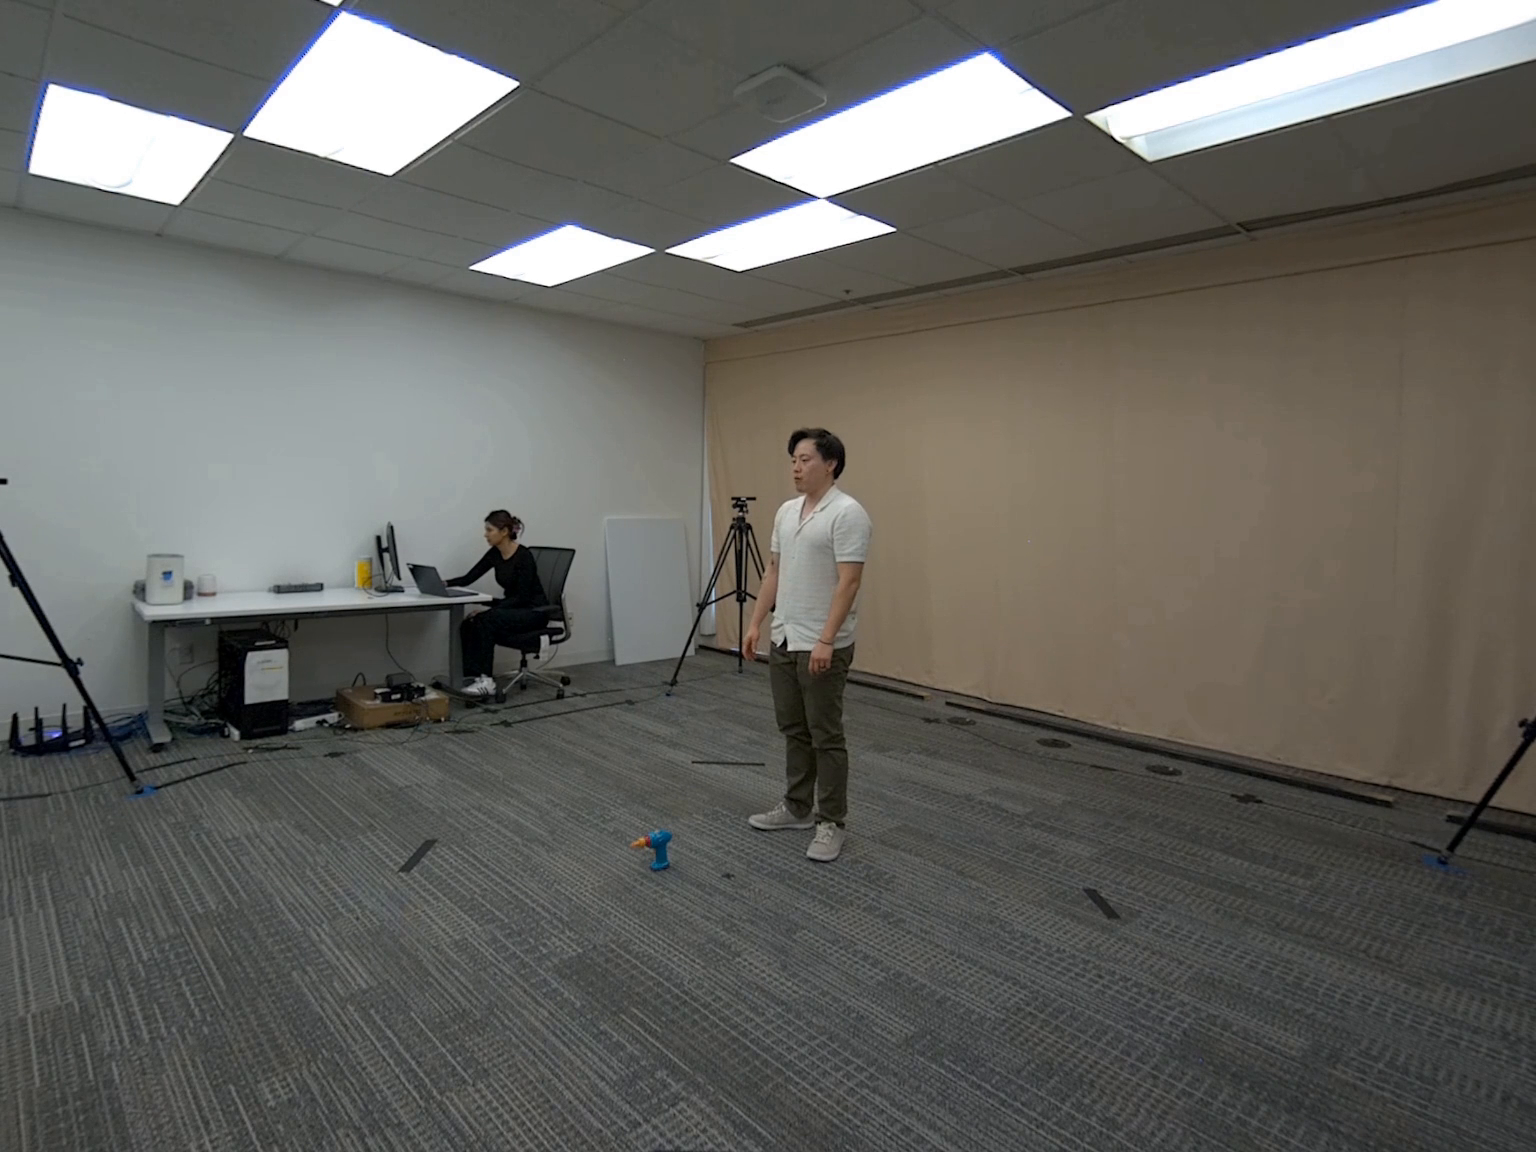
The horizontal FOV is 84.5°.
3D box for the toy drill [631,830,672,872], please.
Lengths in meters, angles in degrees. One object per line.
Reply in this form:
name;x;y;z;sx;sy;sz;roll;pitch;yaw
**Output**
toy drill;-0.443;1.025;3.132;0.166;0.145;0.062;-3;5;-34
